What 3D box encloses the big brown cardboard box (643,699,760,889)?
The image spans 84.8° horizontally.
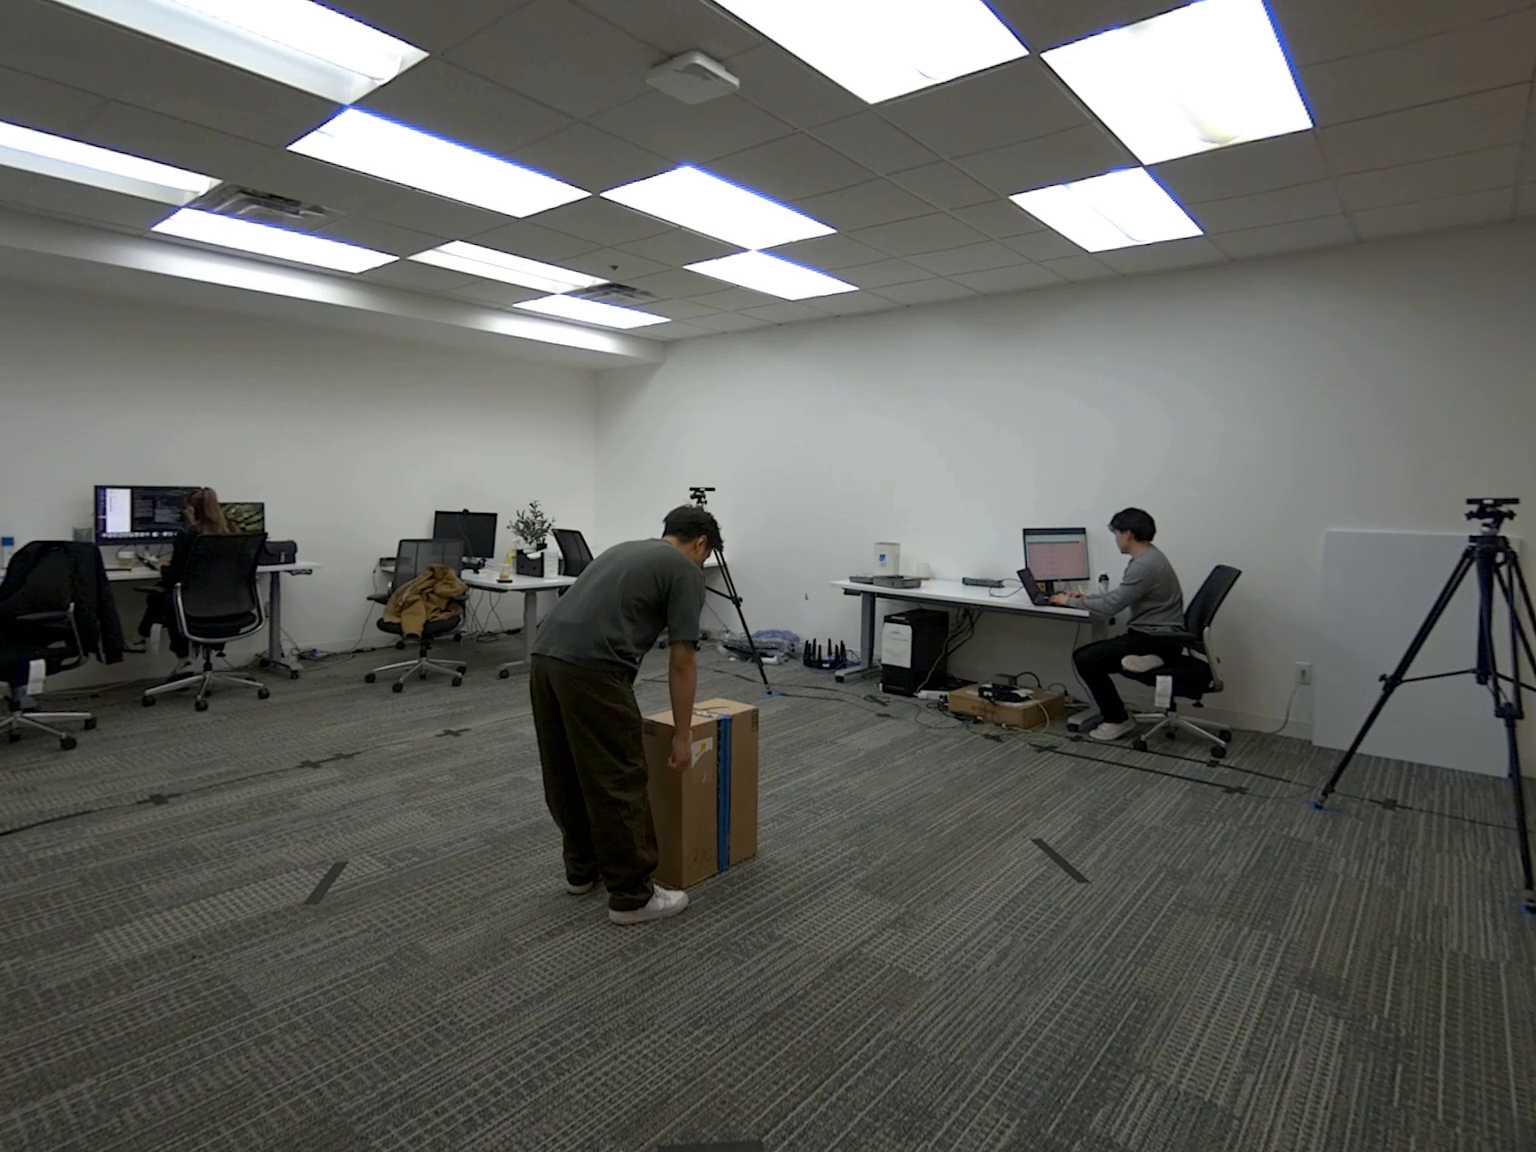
[{"bbox_3d":[-0.255,0.774,3.139,0.241,0.586,0.405,4,6,40],"label":"big brown cardboard box"}]
